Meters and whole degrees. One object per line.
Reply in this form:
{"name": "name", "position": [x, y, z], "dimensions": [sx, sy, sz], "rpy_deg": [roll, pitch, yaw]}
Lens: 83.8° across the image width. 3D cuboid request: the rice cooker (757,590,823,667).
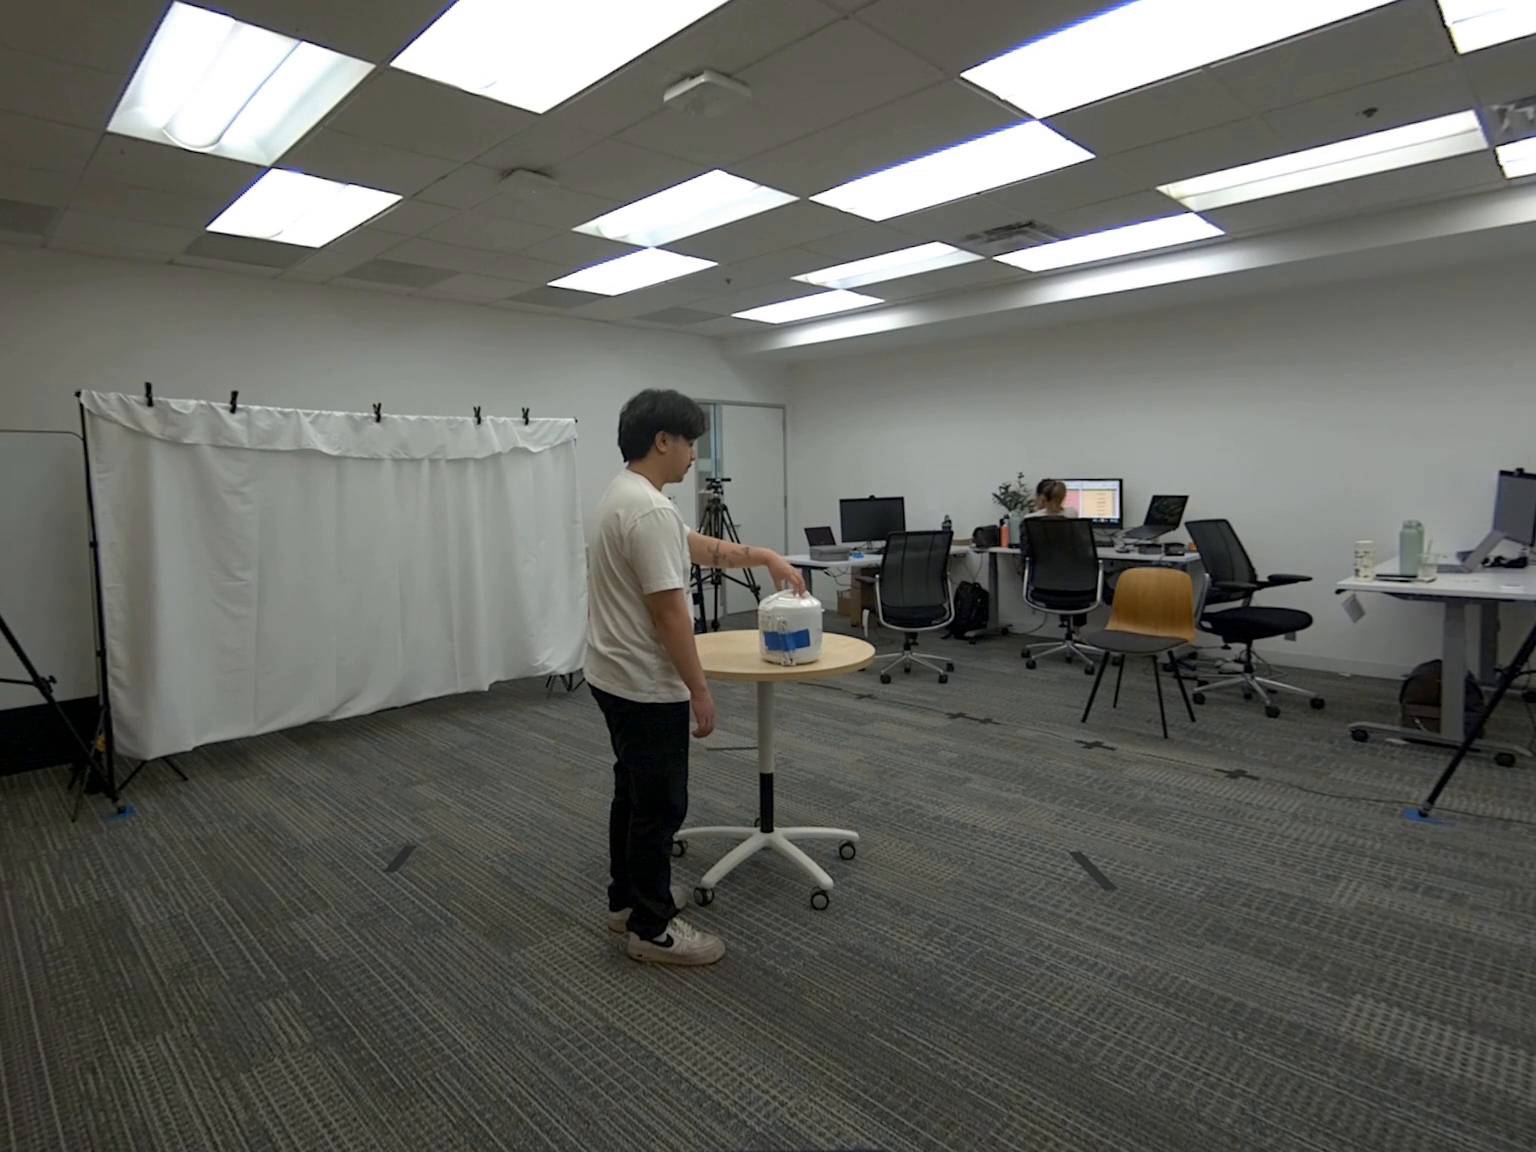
{"name": "rice cooker", "position": [0.074, 0.160, 2.804], "dimensions": [0.215, 0.232, 0.224], "rpy_deg": [-4, 7, -34]}
